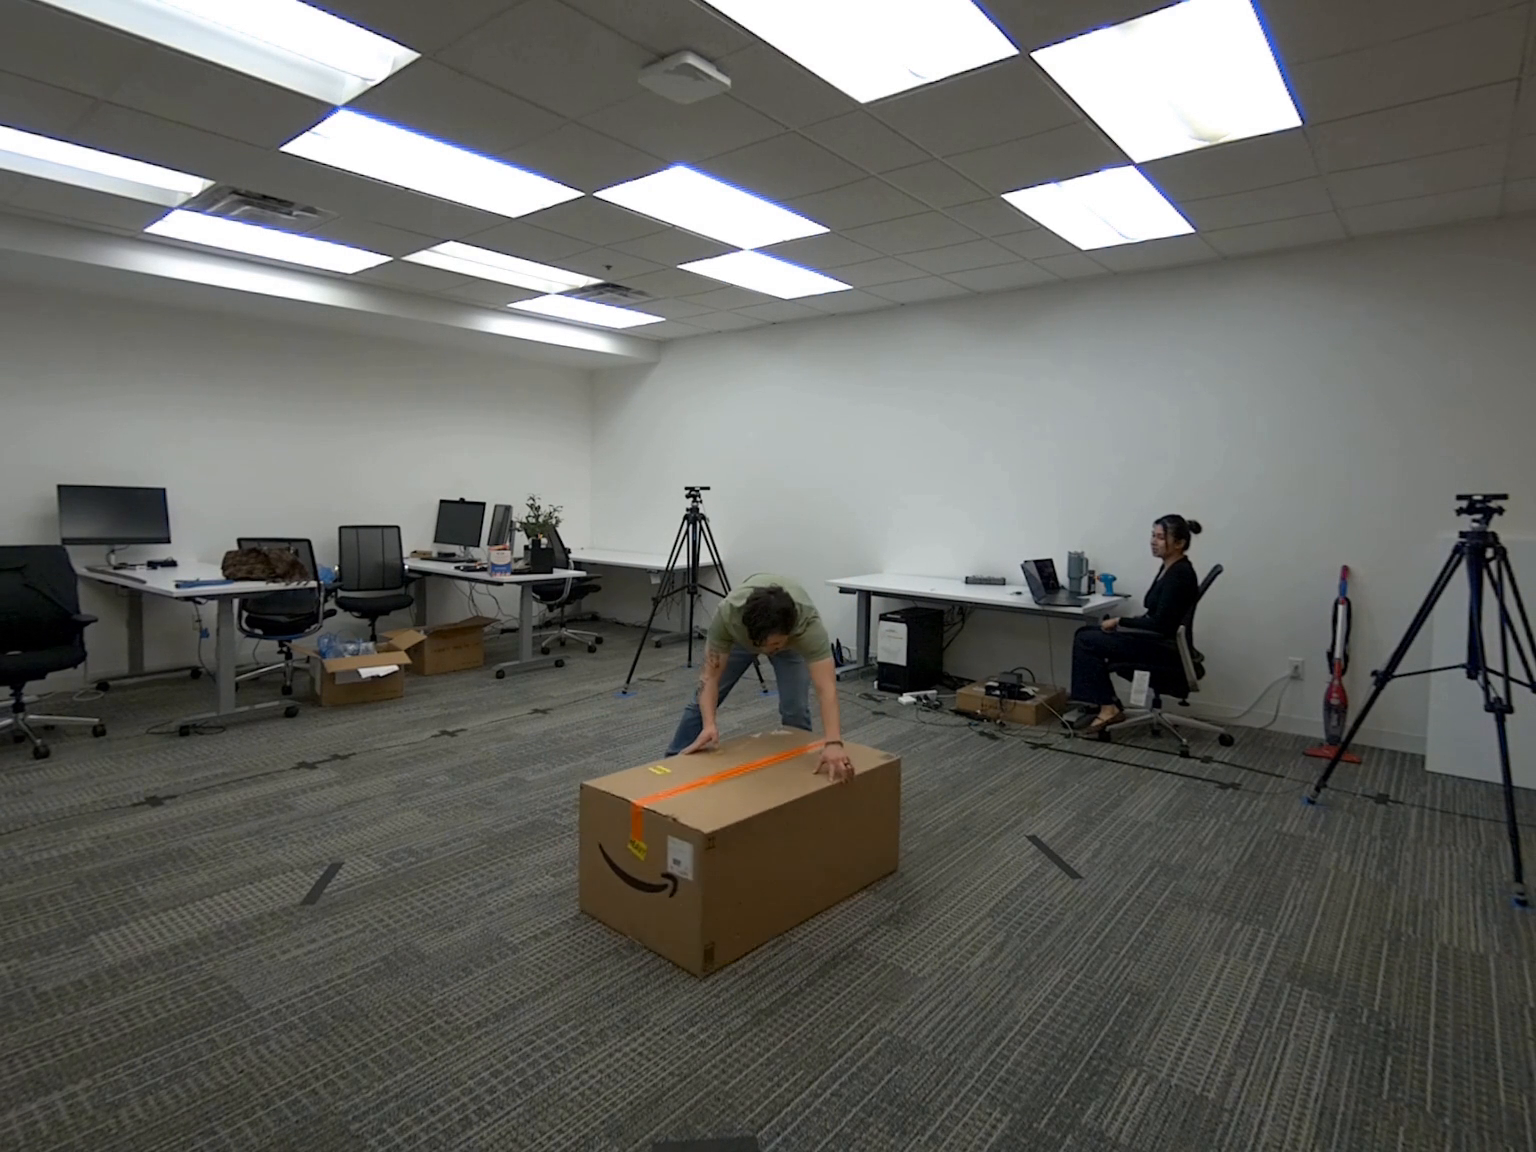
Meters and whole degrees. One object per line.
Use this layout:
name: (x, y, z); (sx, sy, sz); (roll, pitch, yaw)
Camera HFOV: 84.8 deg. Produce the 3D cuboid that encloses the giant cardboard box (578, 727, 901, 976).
giant cardboard box: (-0.077, 0.872, 2.944); (0.597, 0.425, 0.995); (4, 6, 43)
